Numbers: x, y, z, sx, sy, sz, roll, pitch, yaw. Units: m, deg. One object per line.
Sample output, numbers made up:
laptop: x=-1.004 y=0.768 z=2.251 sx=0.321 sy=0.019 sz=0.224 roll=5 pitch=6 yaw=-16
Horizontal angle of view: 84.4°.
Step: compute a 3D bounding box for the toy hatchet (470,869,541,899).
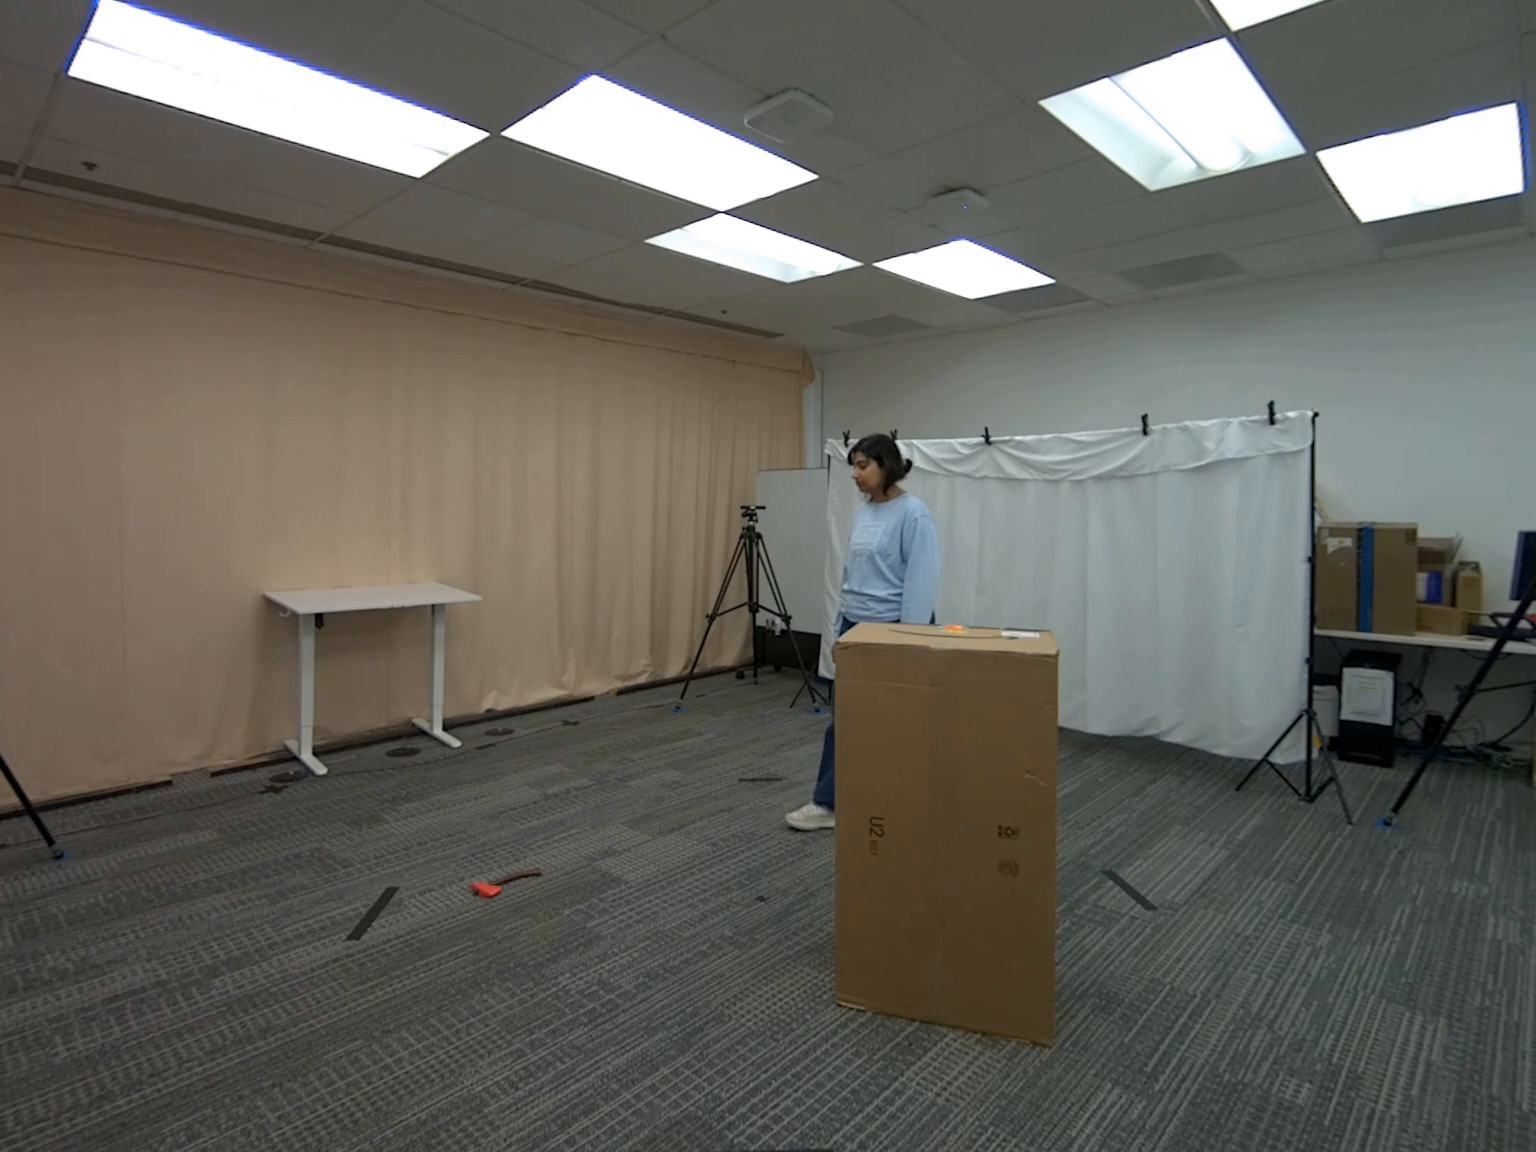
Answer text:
toy hatchet: x=-0.958 y=1.139 z=3.097 sx=0.262 sy=0.029 sz=0.135 roll=-1 pitch=2 yaw=-31
